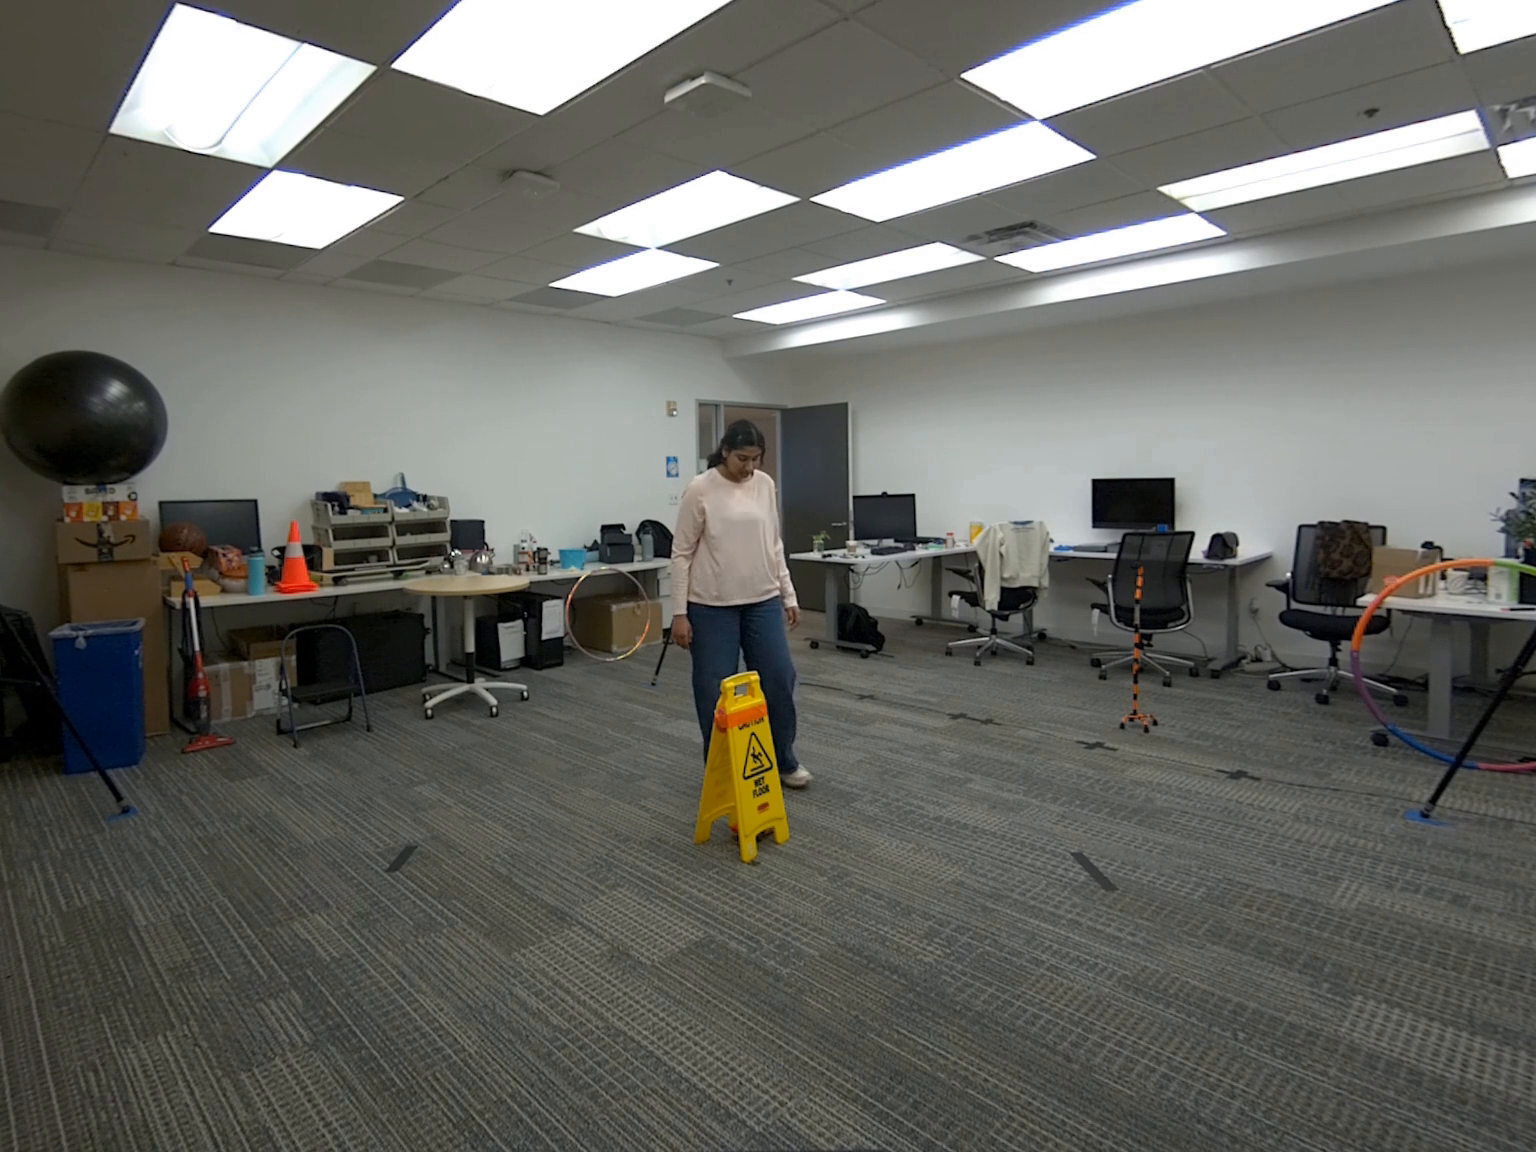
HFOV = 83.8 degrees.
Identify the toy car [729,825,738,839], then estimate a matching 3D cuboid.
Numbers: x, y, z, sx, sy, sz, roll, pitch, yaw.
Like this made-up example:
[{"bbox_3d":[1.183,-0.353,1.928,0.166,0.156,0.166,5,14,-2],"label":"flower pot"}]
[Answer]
[{"bbox_3d":[-0.035,0.982,3.358,0.246,0.083,0.134,5,1,-44],"label":"toy car"}]
